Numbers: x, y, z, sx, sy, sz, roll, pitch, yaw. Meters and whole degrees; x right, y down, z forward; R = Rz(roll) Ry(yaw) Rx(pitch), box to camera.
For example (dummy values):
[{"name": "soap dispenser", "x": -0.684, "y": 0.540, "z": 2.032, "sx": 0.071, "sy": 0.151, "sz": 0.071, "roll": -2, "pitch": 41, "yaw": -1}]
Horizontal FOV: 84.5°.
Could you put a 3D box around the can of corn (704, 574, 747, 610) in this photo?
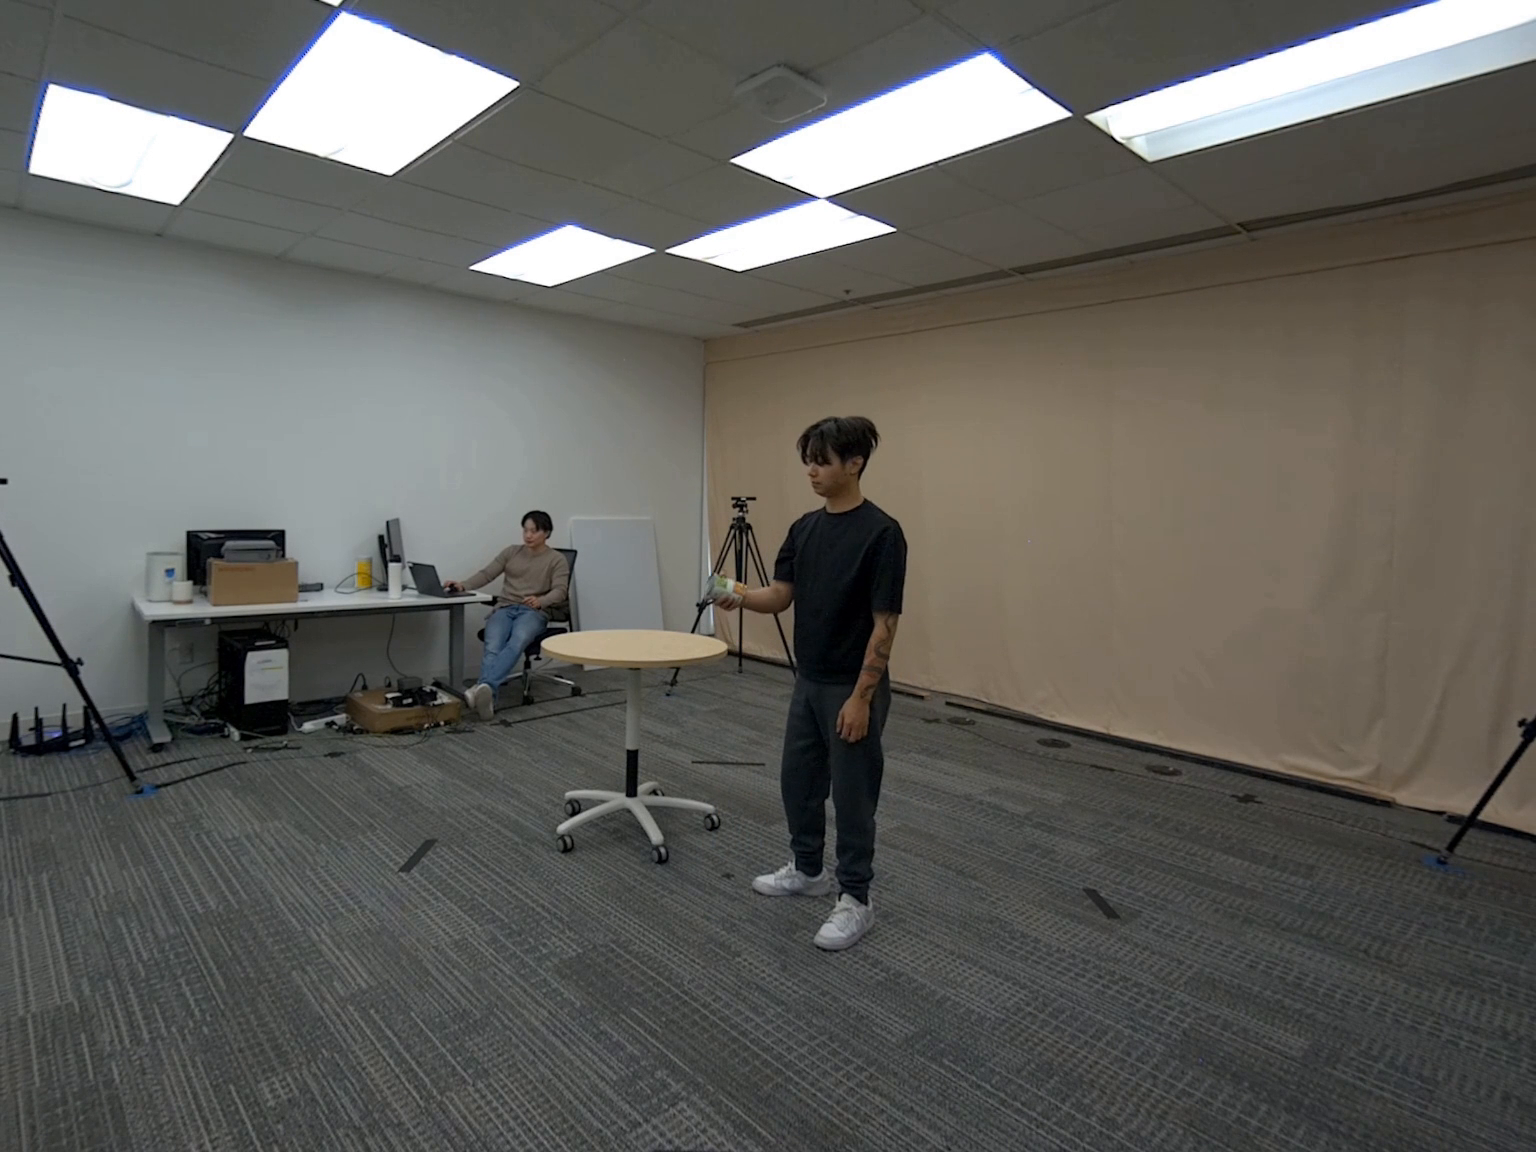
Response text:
[{"name": "can of corn", "x": -0.139, "y": 0.044, "z": 2.606, "sx": 0.109, "sy": 0.074, "sz": 0.075, "roll": 12, "pitch": 1, "yaw": -16}]
